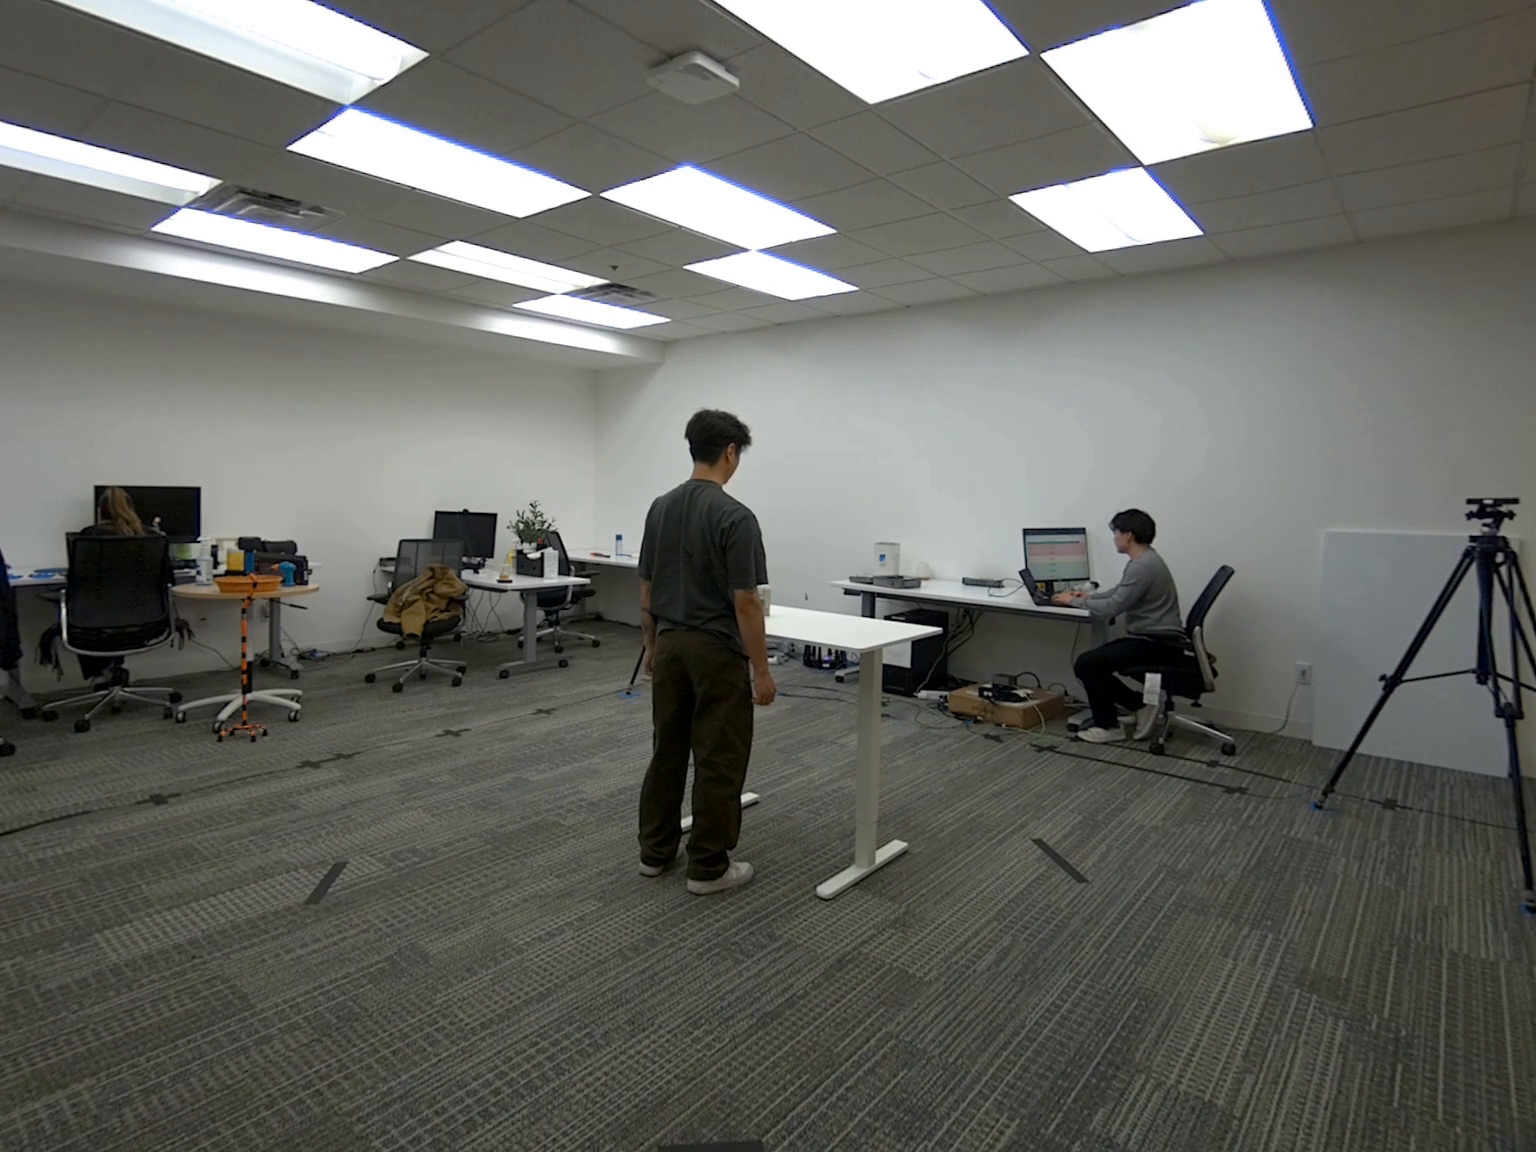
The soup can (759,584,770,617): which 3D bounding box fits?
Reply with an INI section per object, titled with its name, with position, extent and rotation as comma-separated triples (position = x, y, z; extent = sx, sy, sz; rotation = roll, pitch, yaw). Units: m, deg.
[soup can]
position = -0.031, 0.097, 3.431
extent = 0.067, 0.121, 0.067
rotation = 1, 6, -2
